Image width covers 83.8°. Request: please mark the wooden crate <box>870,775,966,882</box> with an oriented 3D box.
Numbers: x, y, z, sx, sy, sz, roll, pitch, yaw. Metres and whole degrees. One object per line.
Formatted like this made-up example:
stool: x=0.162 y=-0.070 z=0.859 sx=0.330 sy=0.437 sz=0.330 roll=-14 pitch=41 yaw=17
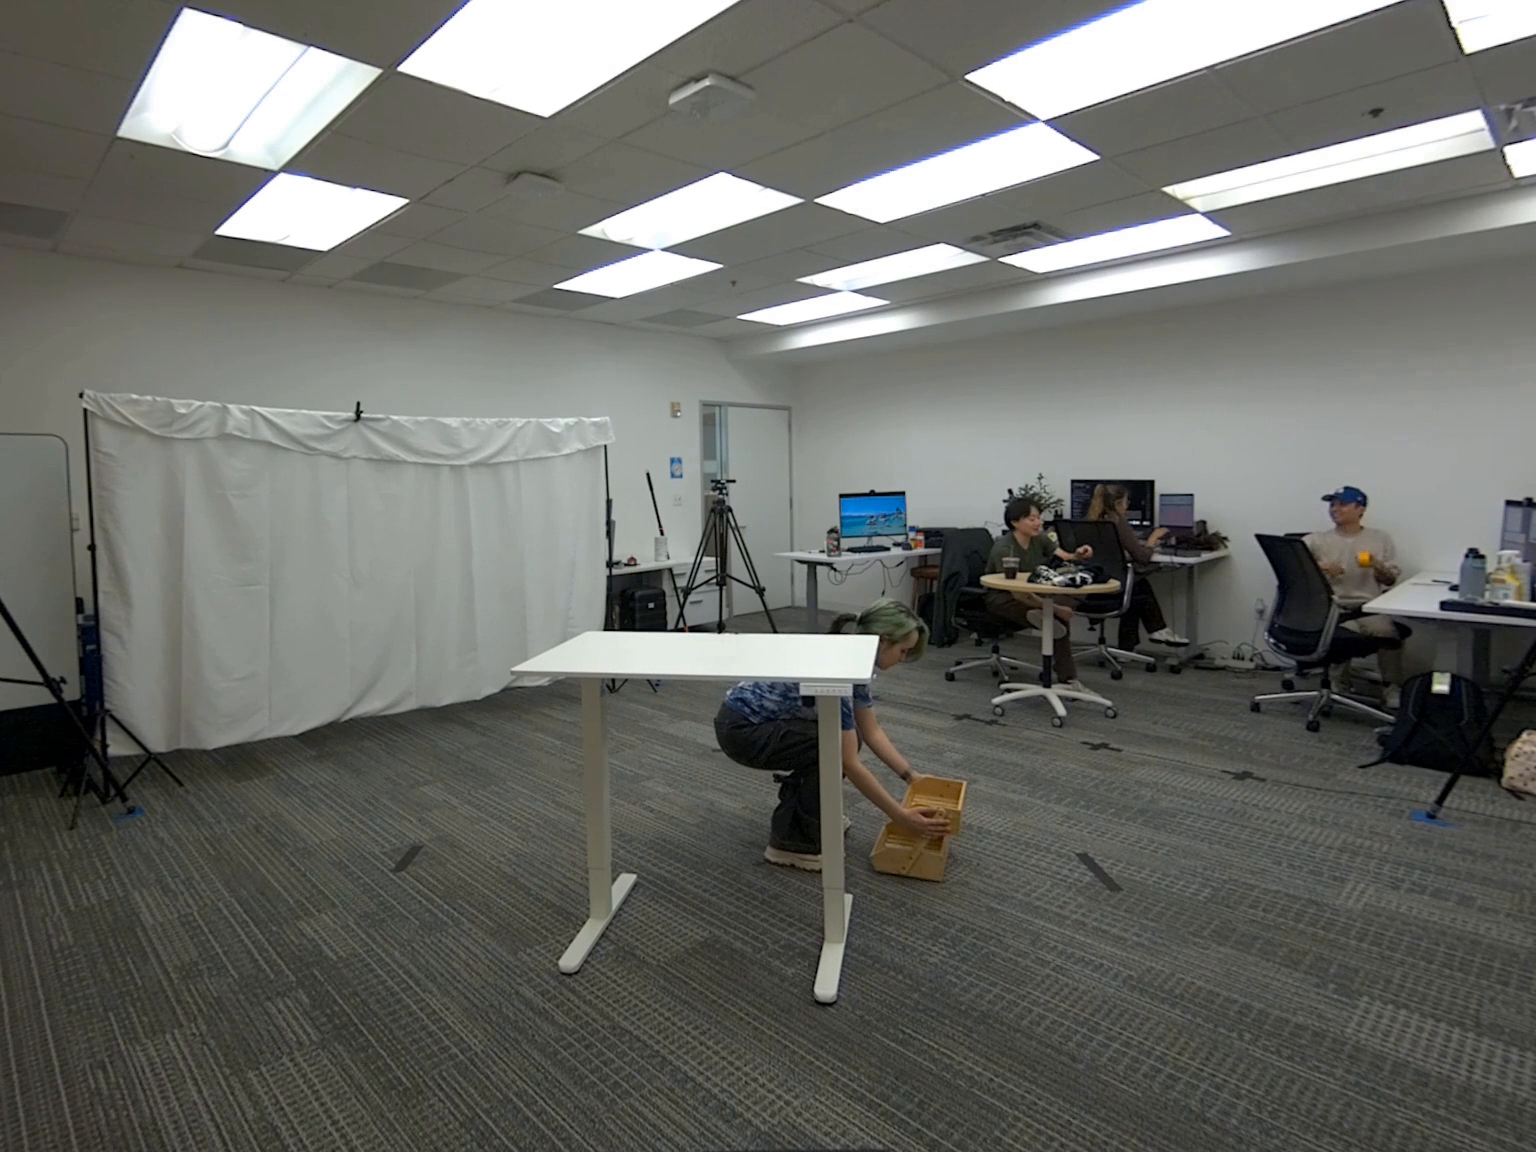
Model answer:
wooden crate: x=0.548 y=0.894 z=3.093 sx=0.308 sy=0.272 sz=0.320 roll=3 pitch=5 yaw=18
